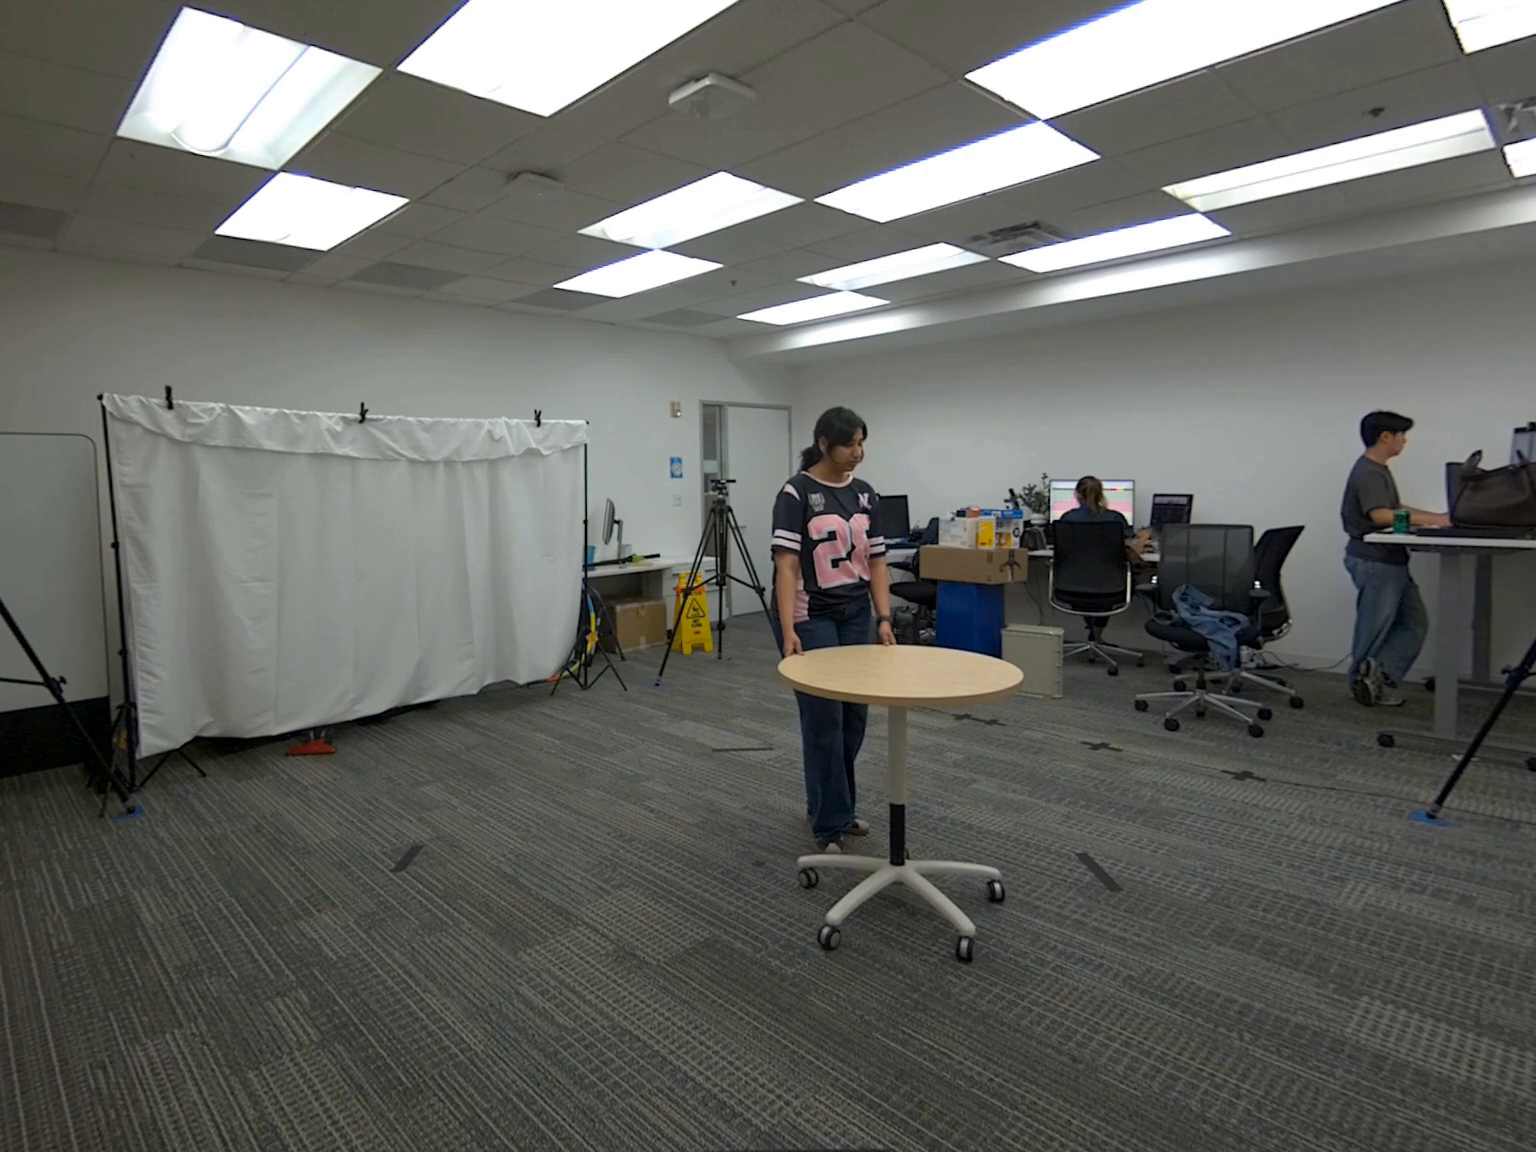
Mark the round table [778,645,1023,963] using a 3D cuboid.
[{"bbox_3d":[0.413,0.691,2.762,0.763,0.791,0.768,-1,5,-2],"label":"round table"}]
